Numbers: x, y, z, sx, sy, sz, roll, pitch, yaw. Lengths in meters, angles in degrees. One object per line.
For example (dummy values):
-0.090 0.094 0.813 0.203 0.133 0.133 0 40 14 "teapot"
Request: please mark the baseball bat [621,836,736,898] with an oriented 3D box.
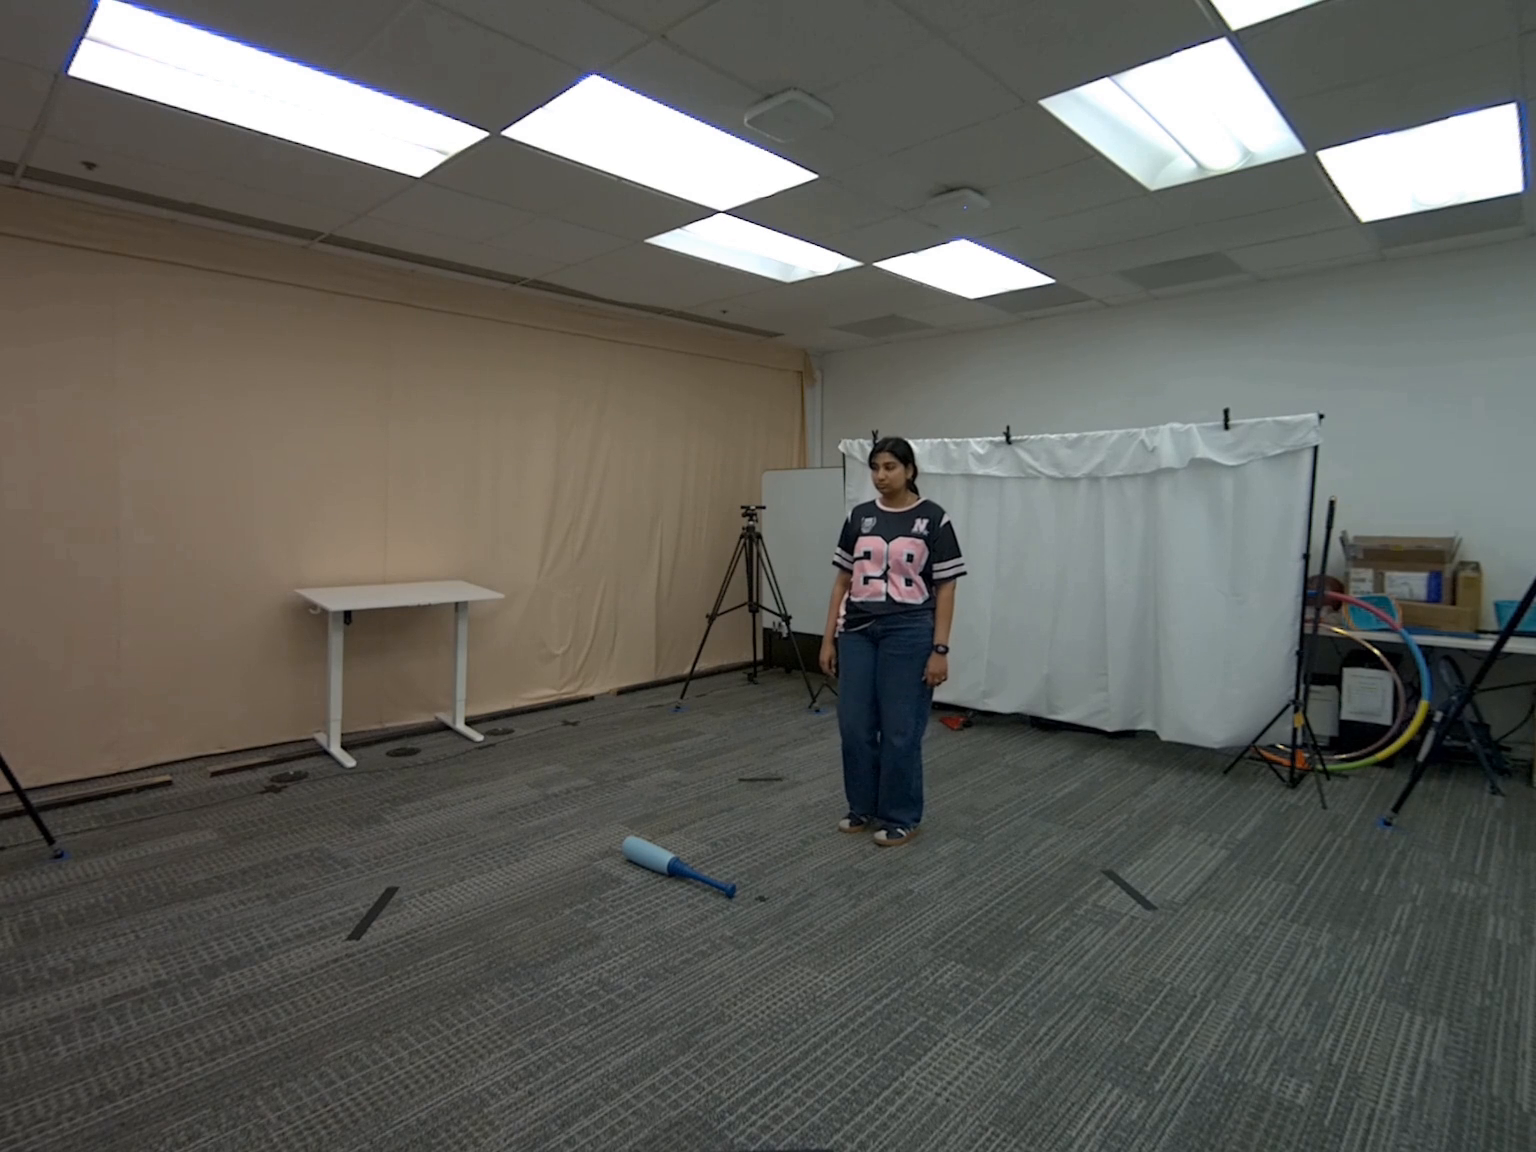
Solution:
-0.340 1.095 3.155 0.561 0.089 0.086 6 7 39 "baseball bat"
